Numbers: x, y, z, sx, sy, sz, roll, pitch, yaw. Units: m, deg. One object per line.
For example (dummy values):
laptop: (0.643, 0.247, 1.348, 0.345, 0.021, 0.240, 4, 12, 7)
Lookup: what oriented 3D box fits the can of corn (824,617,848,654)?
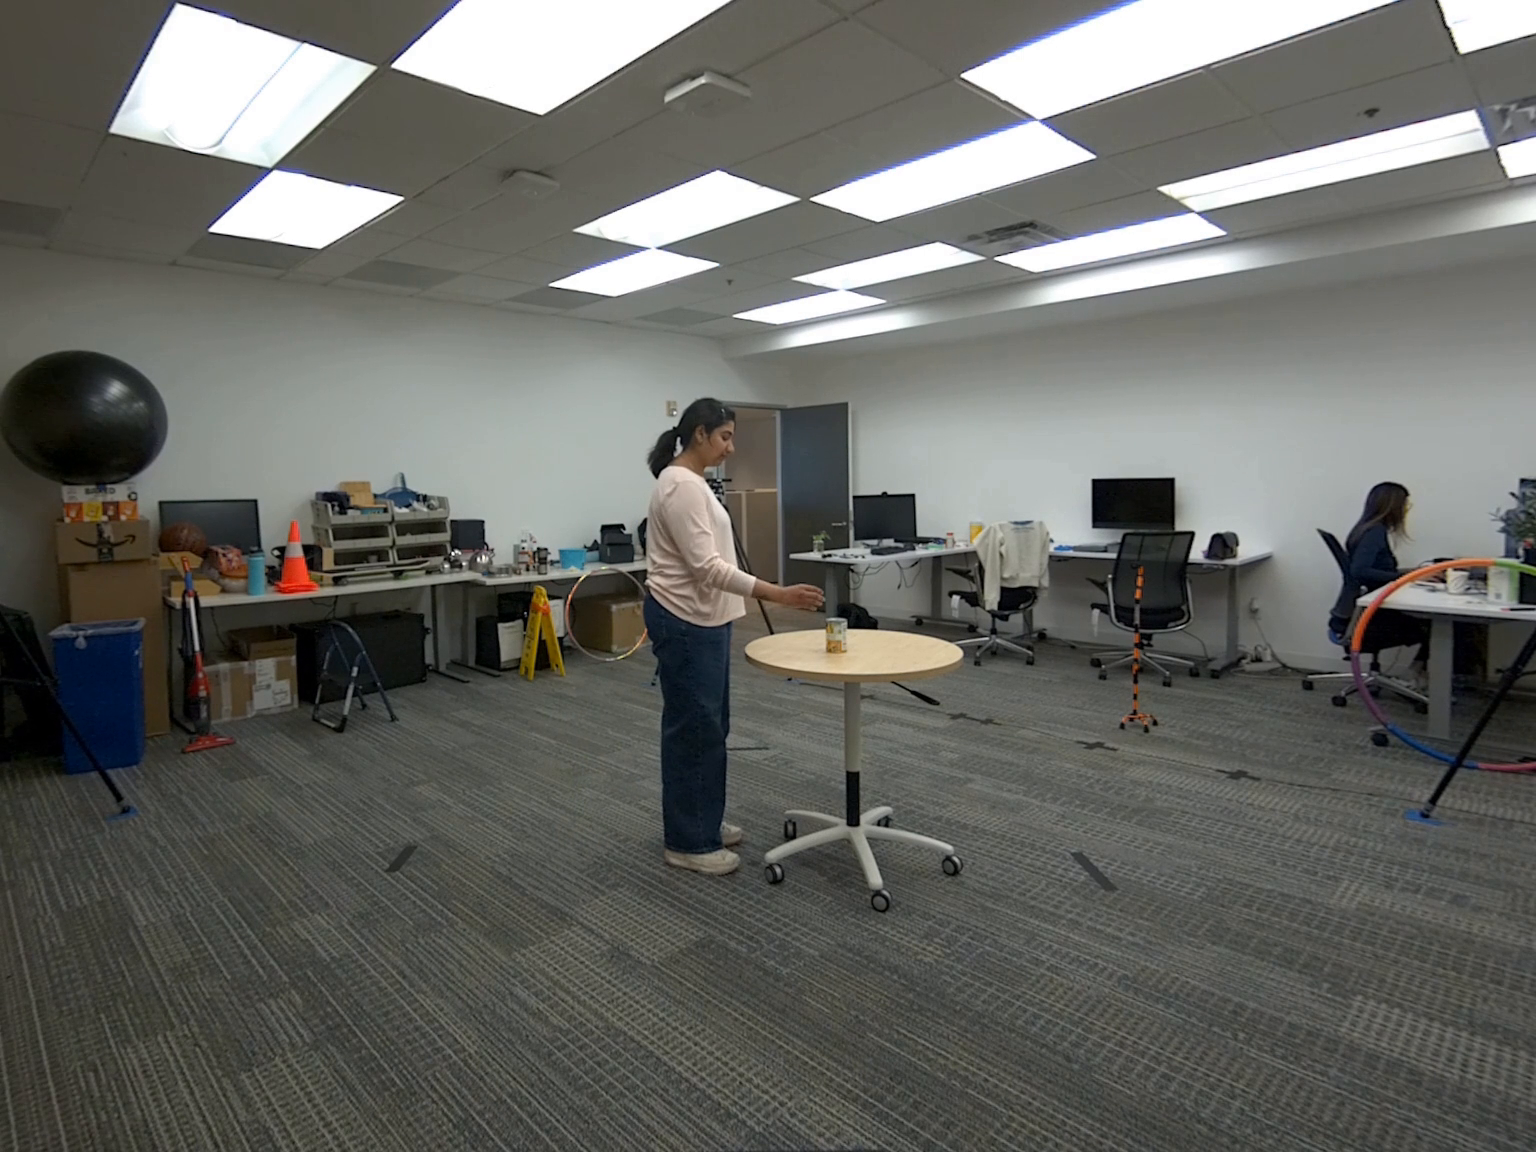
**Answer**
can of corn: (0.241, 0.208, 3.005, 0.074, 0.110, 0.074, -2, 5, -2)
